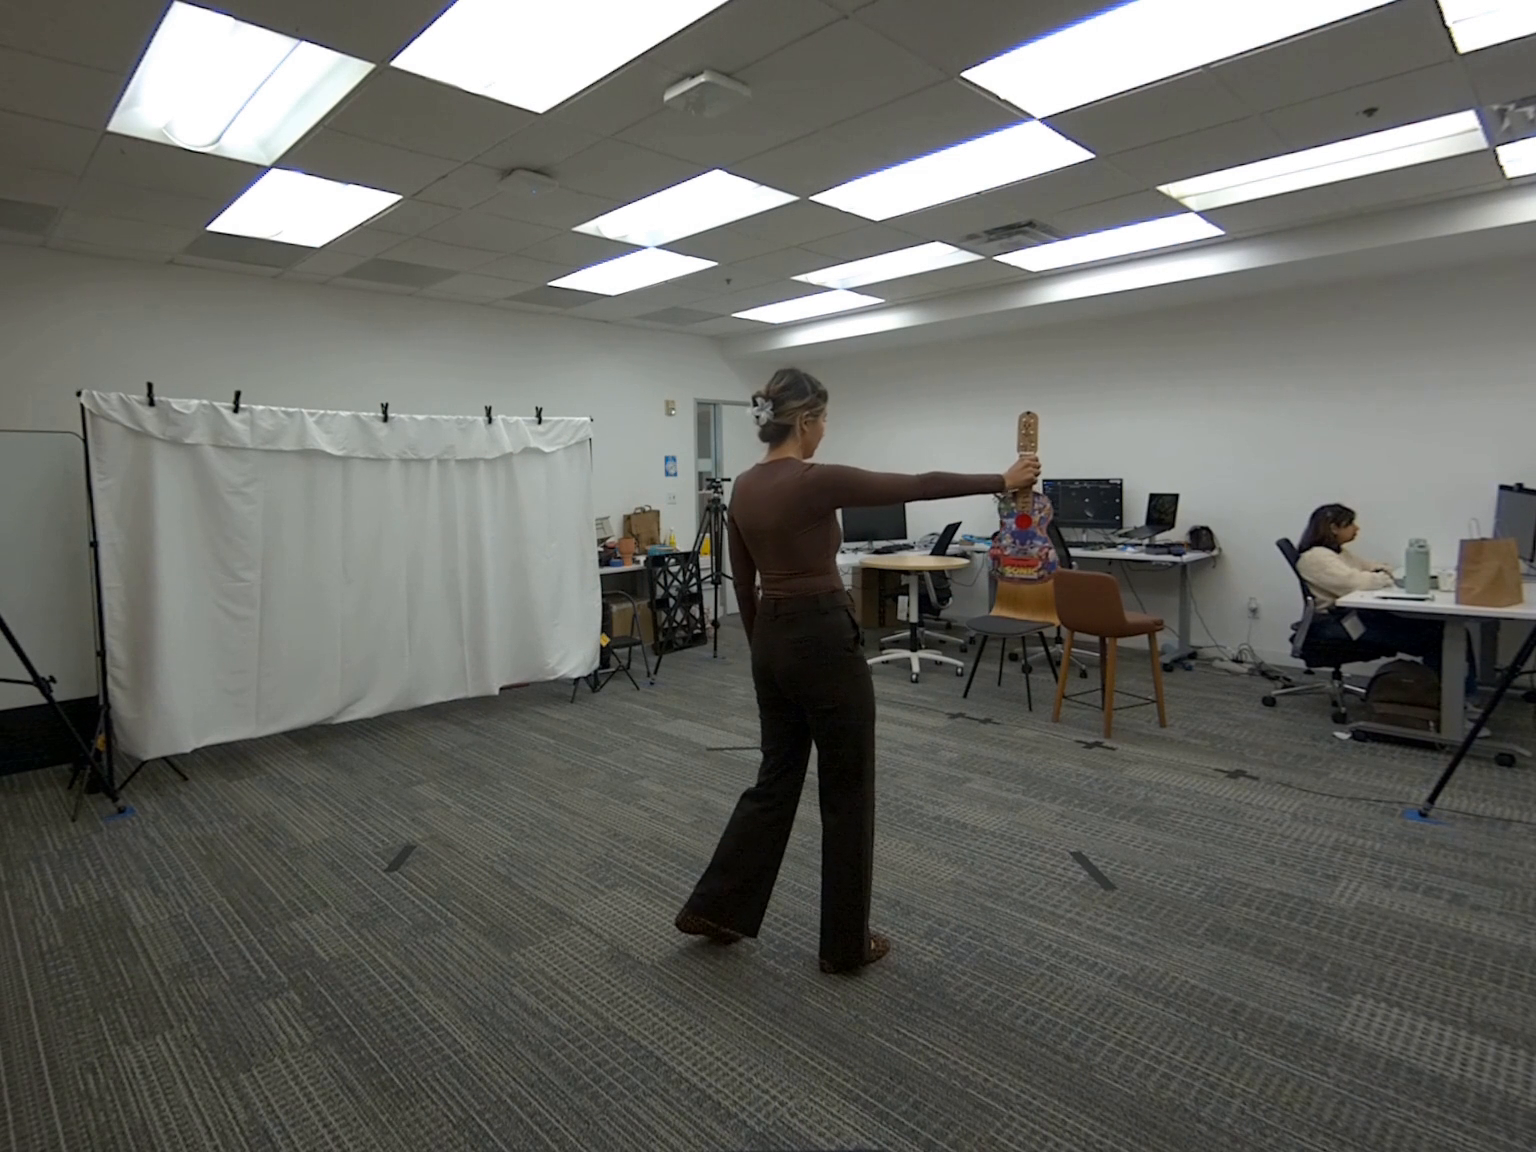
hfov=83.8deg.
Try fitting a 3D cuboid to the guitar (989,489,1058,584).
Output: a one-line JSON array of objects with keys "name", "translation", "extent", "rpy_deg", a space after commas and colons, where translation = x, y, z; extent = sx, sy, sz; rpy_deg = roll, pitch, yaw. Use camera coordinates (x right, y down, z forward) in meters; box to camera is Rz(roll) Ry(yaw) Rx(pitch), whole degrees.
[{"name": "guitar", "translation": [0.775, -0.217, 2.468], "extent": [0.197, 0.499, 0.069], "rpy_deg": [14, -4, 20]}]
